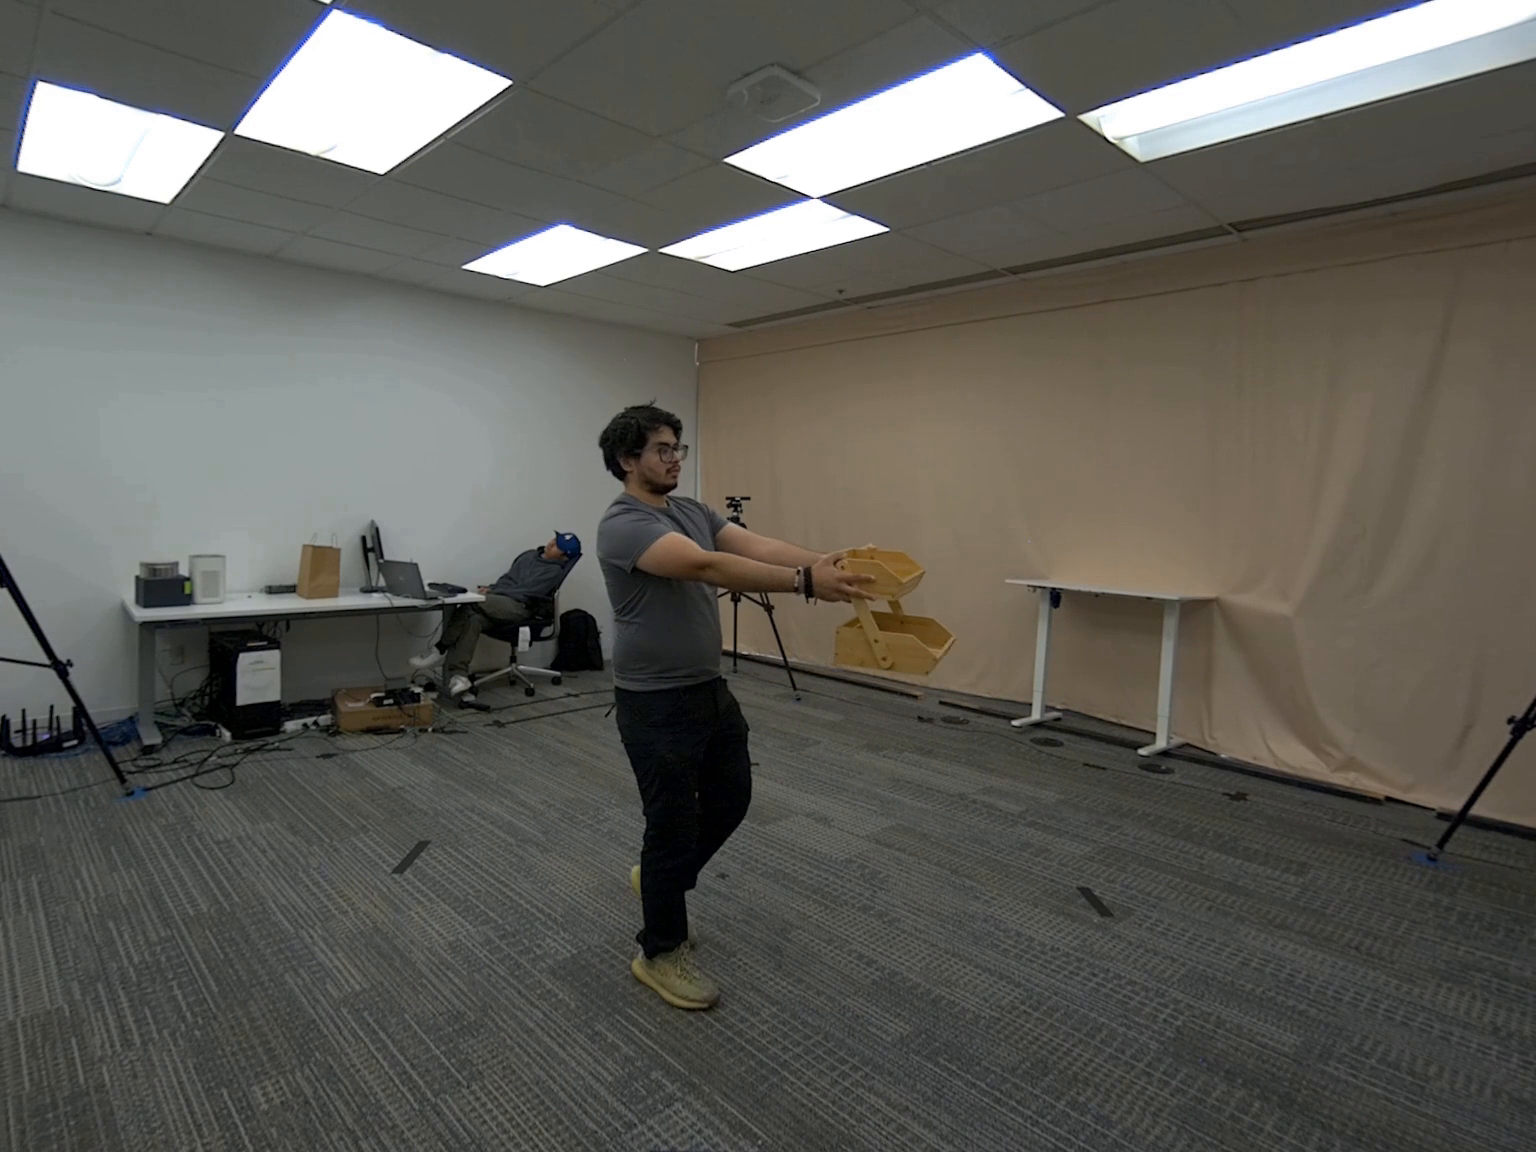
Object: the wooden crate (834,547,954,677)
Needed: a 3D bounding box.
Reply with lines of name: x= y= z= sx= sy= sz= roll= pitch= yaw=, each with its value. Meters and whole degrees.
wooden crate: x=0.306 y=0.078 z=2.149 sx=0.307 sy=0.272 sz=0.320 roll=4 pitch=5 yaw=20
